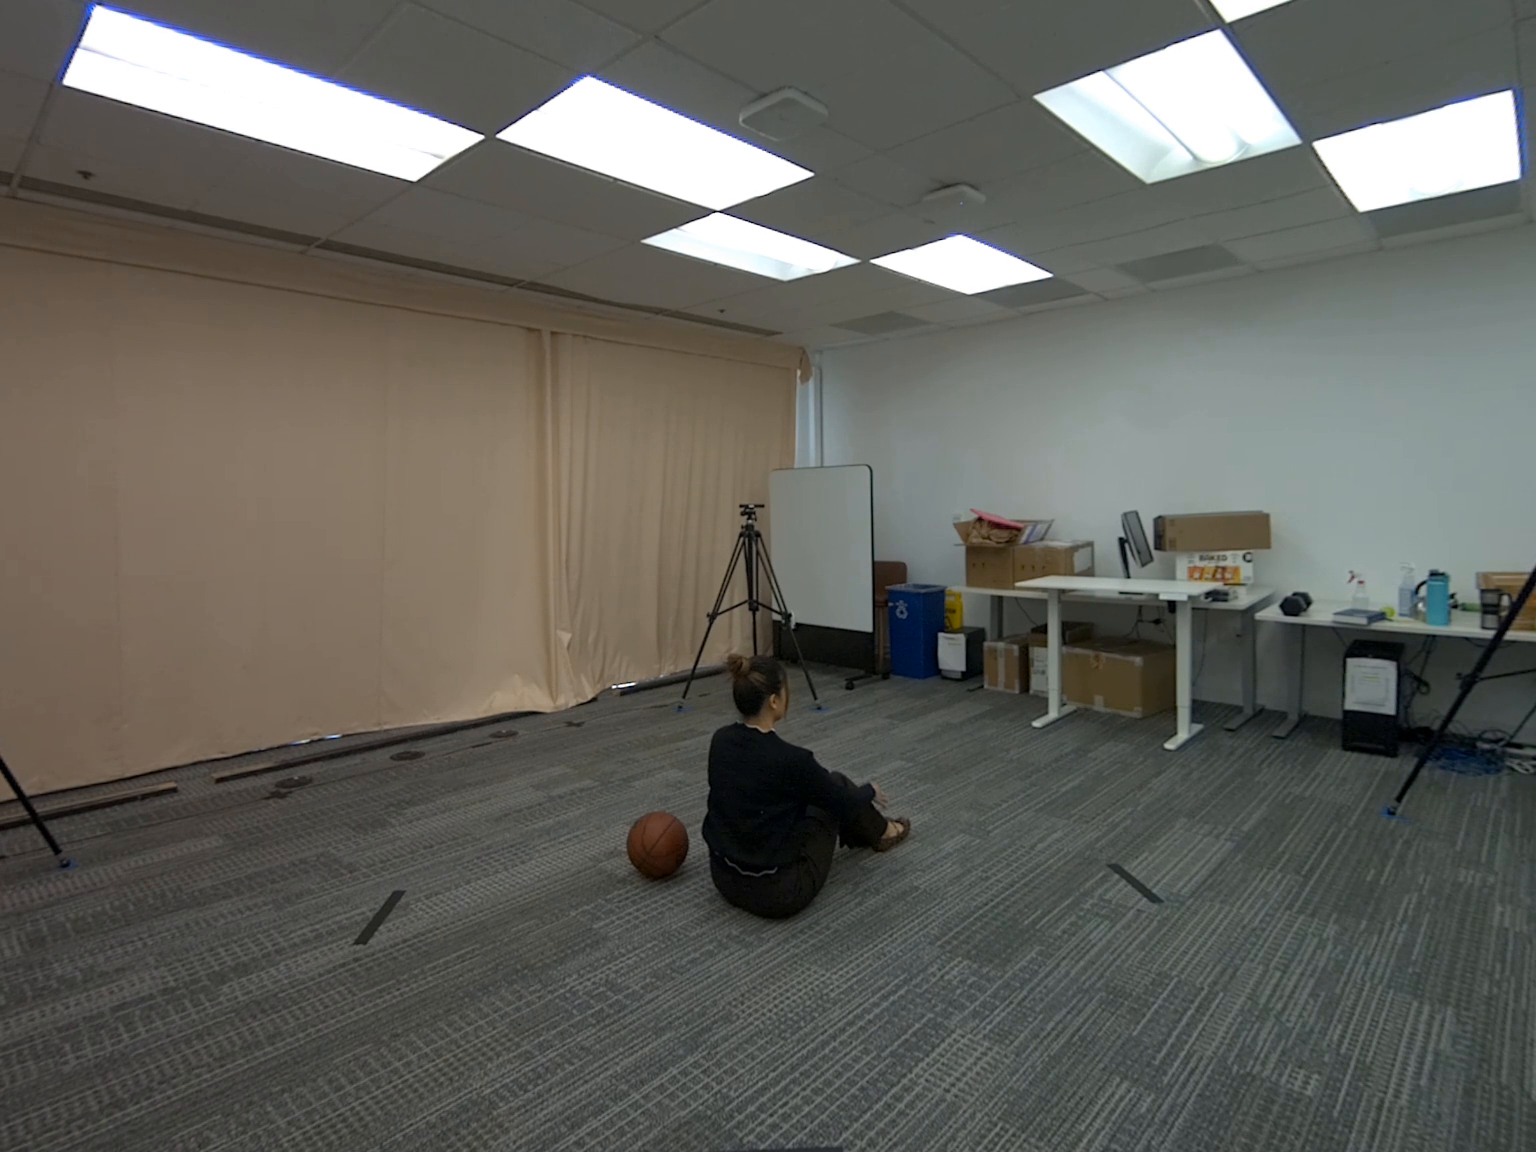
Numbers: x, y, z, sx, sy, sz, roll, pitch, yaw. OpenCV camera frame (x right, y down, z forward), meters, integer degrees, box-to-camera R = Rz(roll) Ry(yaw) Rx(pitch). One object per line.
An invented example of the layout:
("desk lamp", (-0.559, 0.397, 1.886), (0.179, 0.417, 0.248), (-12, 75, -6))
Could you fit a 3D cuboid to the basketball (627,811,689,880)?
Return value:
("basketball", (-0.415, 1.015, 3.186), (0.236, 0.235, 0.237), (-1, 4, -2))
